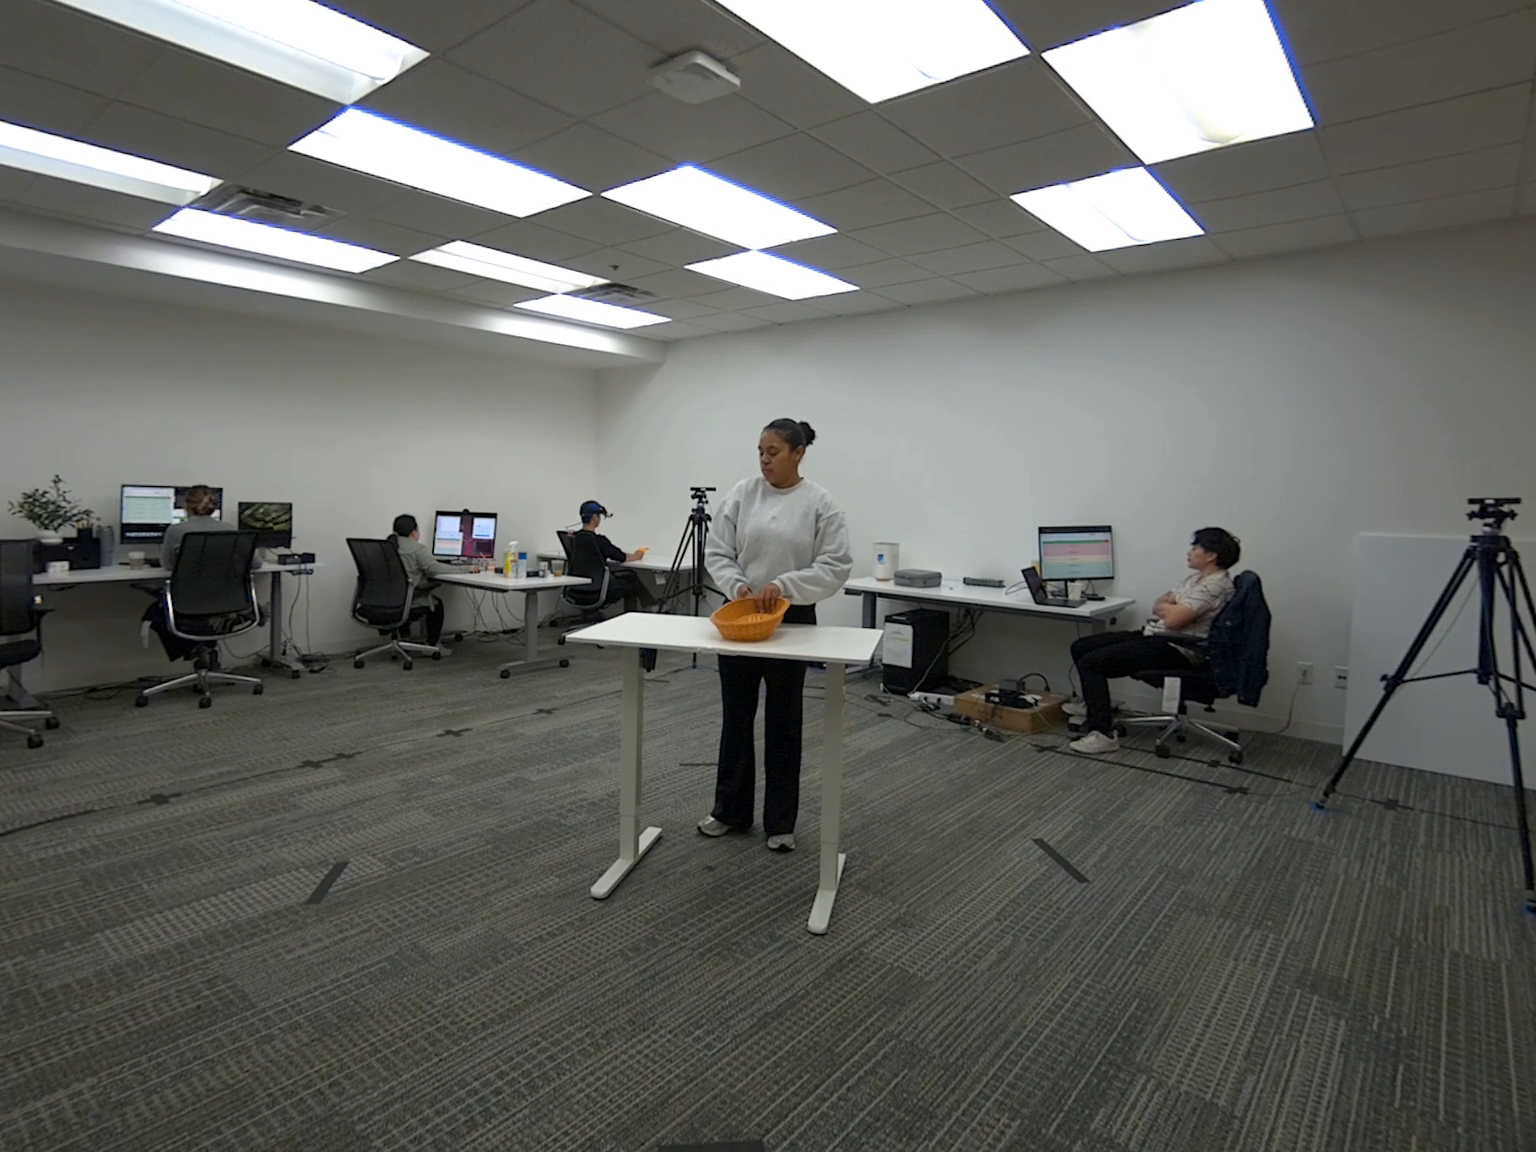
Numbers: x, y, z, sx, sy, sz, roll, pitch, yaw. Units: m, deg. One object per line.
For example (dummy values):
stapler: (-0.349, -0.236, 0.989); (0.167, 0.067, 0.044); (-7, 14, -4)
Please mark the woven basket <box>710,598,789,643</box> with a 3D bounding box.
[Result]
woven basket: (-0.061, 0.151, 2.935); (0.258, 0.072, 0.347); (0, 13, 21)
